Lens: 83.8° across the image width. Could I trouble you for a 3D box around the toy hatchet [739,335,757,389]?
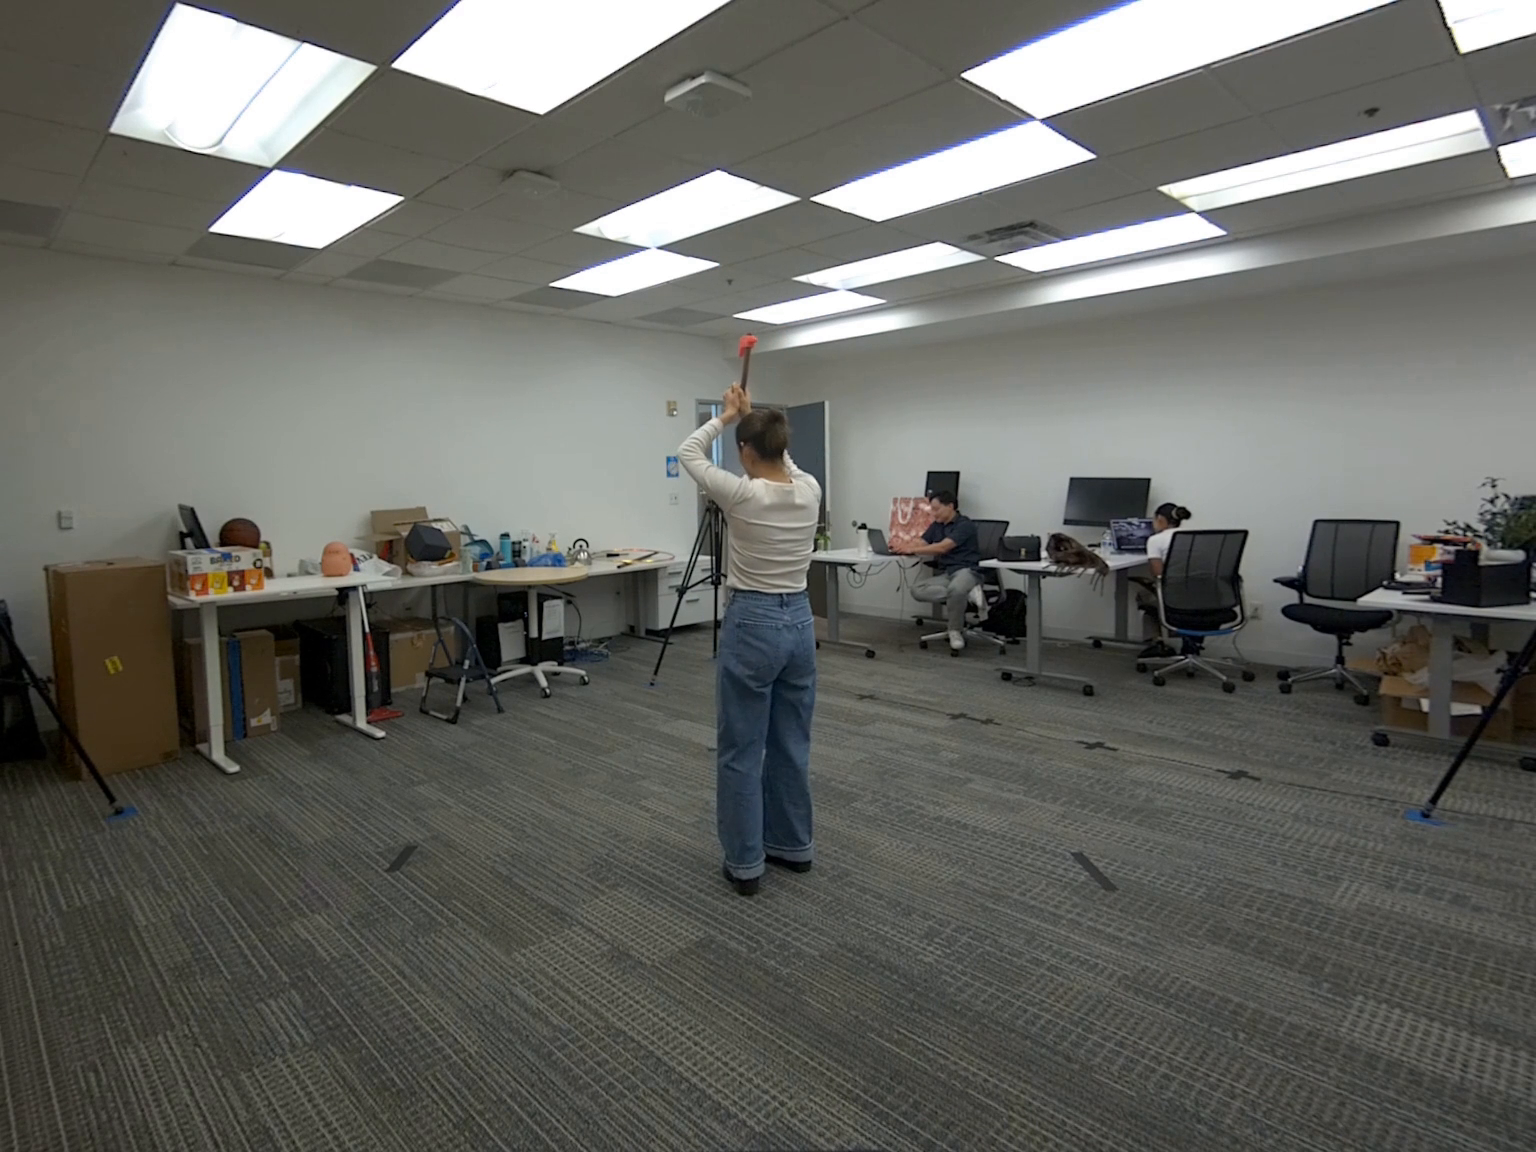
[{"bbox_3d":[-0.097,-0.741,3.078,0.029,0.266,0.136,0,26,-27],"label":"toy hatchet"}]
